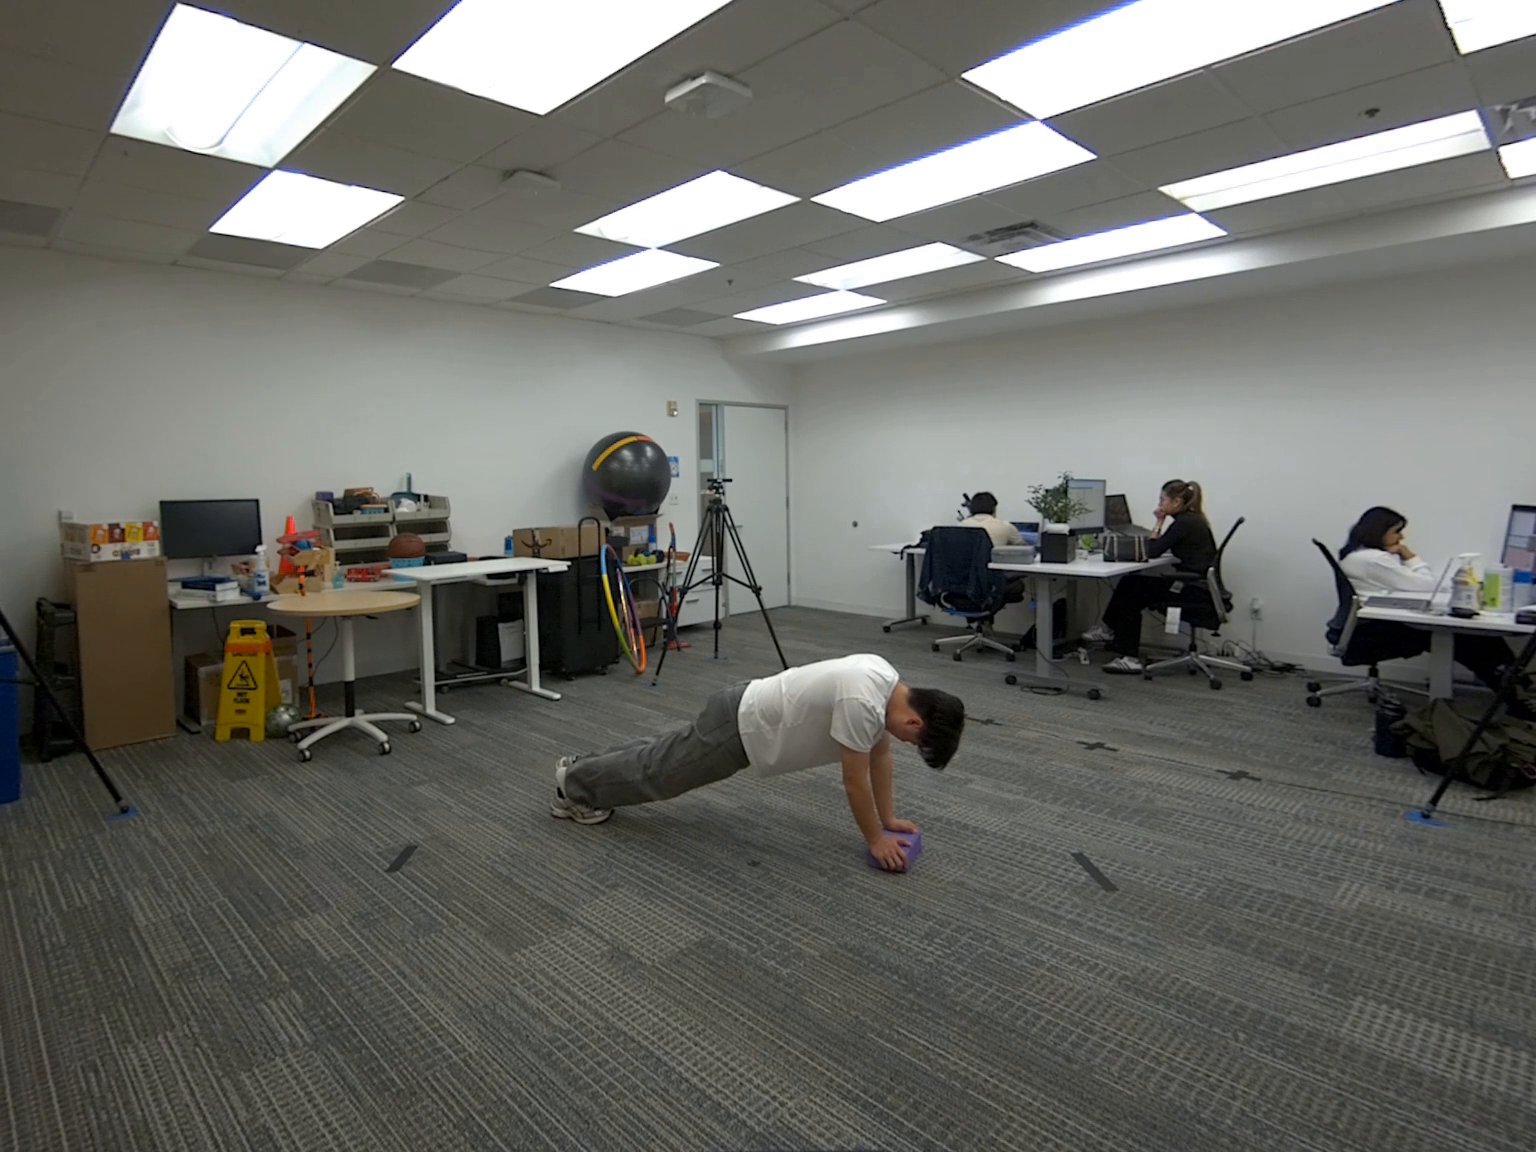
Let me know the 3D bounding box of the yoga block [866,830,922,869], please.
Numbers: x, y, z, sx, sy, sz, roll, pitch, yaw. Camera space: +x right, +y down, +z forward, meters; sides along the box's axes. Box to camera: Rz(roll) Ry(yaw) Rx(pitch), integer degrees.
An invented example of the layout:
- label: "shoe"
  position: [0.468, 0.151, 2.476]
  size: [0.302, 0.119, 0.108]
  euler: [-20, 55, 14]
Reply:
- label: "yoga block"
  position: [0.465, 0.997, 3.143]
  size: [0.152, 0.076, 0.225]
  euler: [3, 6, 23]
